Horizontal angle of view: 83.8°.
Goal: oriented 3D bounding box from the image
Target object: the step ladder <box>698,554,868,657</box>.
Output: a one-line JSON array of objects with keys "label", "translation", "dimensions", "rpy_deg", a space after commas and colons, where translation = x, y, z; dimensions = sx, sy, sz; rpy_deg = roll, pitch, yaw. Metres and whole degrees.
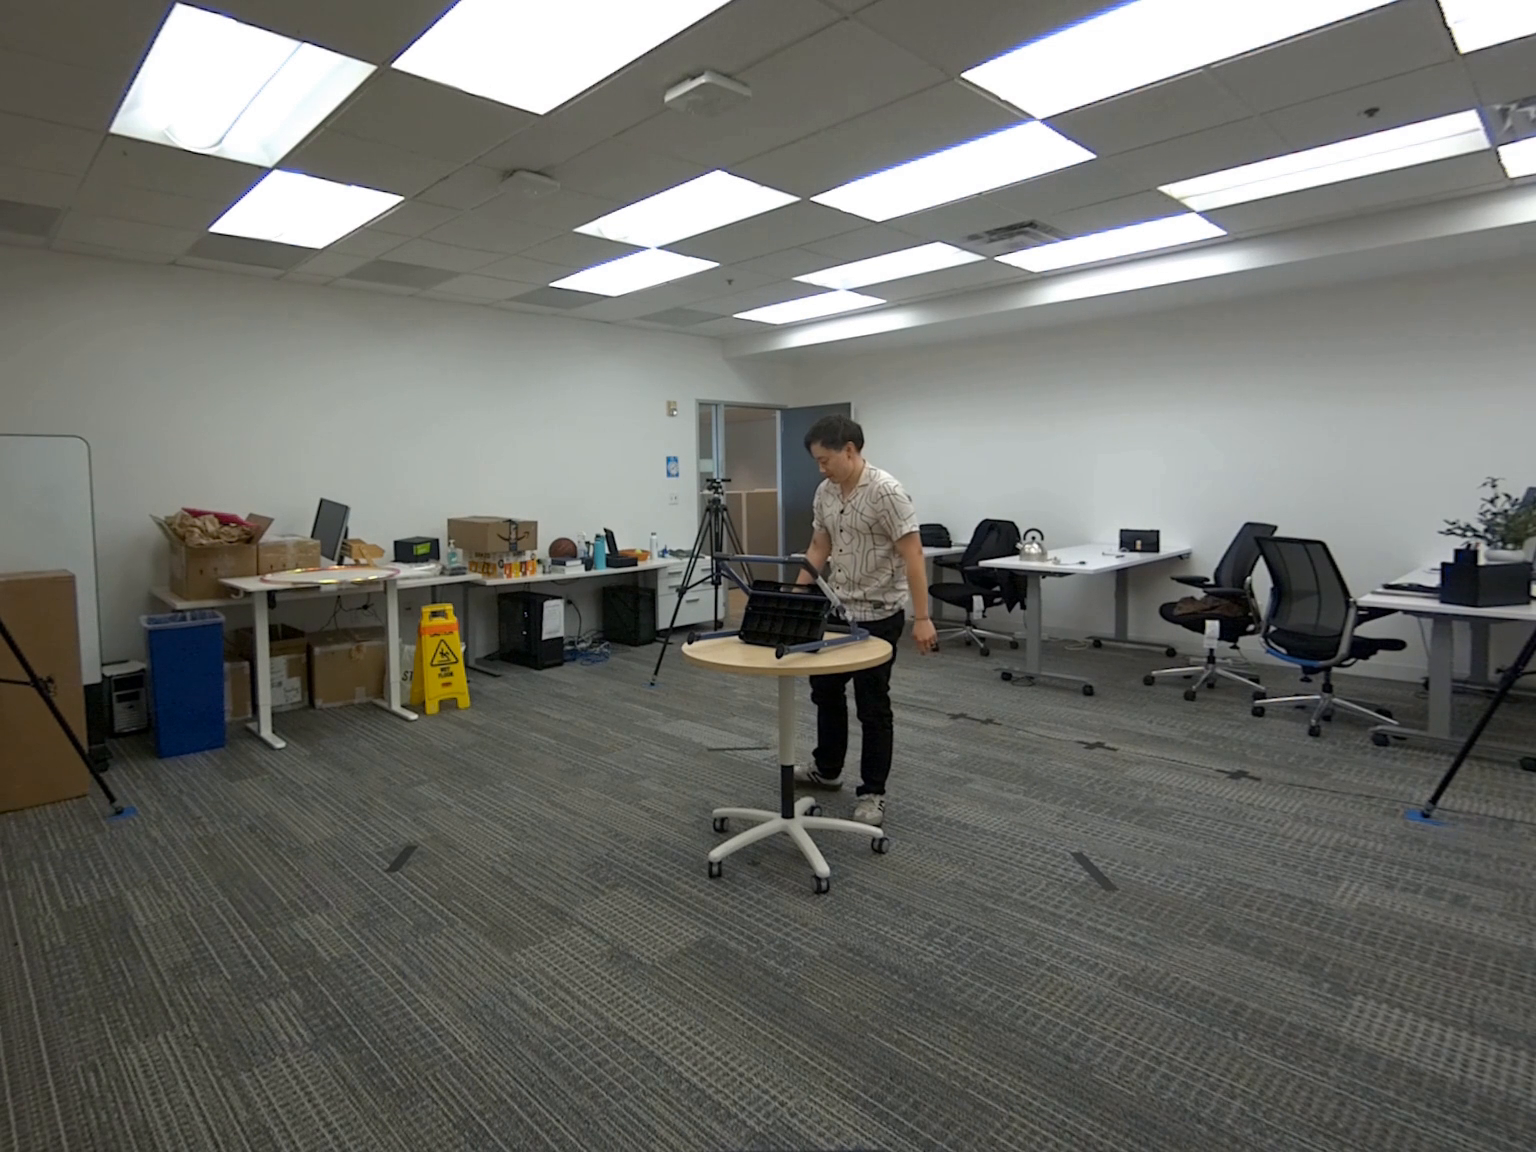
[{"label": "step ladder", "translation": [0.084, 0.185, 3.158], "dimensions": [0.444, 0.352, 0.583], "rpy_deg": [4, -17, 39]}]
